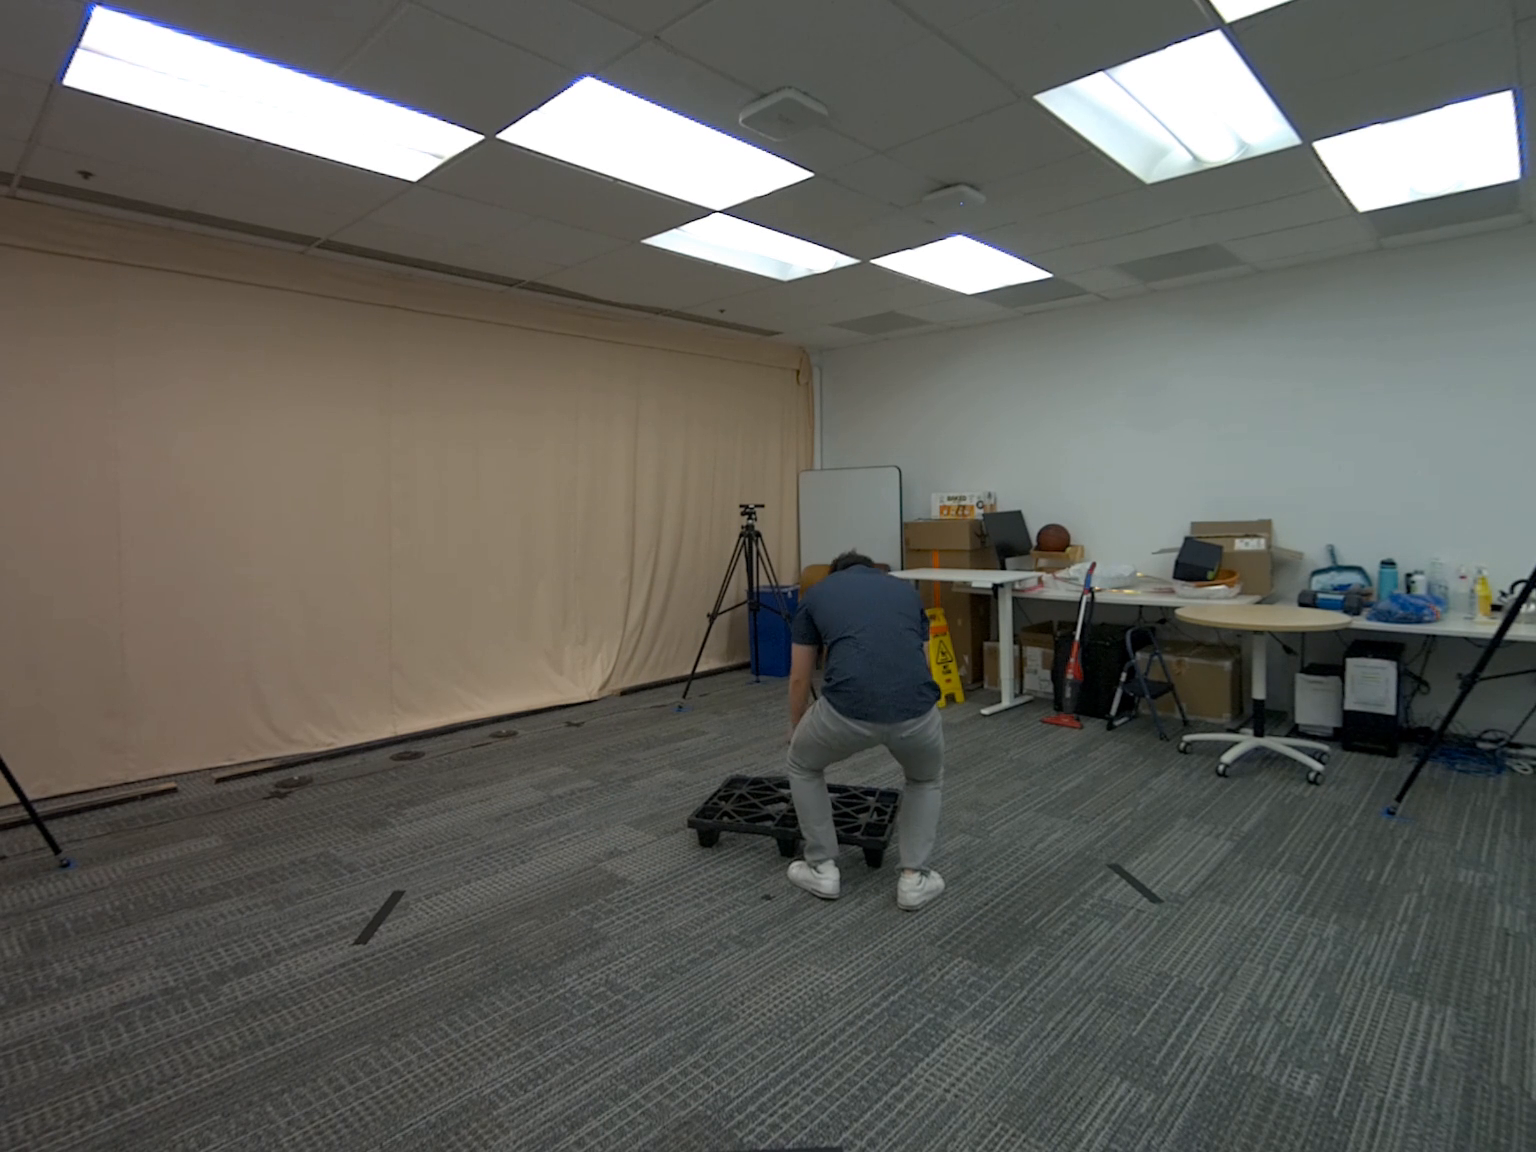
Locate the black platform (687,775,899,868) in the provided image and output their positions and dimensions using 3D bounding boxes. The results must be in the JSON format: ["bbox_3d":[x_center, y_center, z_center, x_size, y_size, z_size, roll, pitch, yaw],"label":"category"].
[{"bbox_3d":[0.140,1.023,3.530,0.821,0.143,0.595,0,5,18],"label":"black platform"}]
